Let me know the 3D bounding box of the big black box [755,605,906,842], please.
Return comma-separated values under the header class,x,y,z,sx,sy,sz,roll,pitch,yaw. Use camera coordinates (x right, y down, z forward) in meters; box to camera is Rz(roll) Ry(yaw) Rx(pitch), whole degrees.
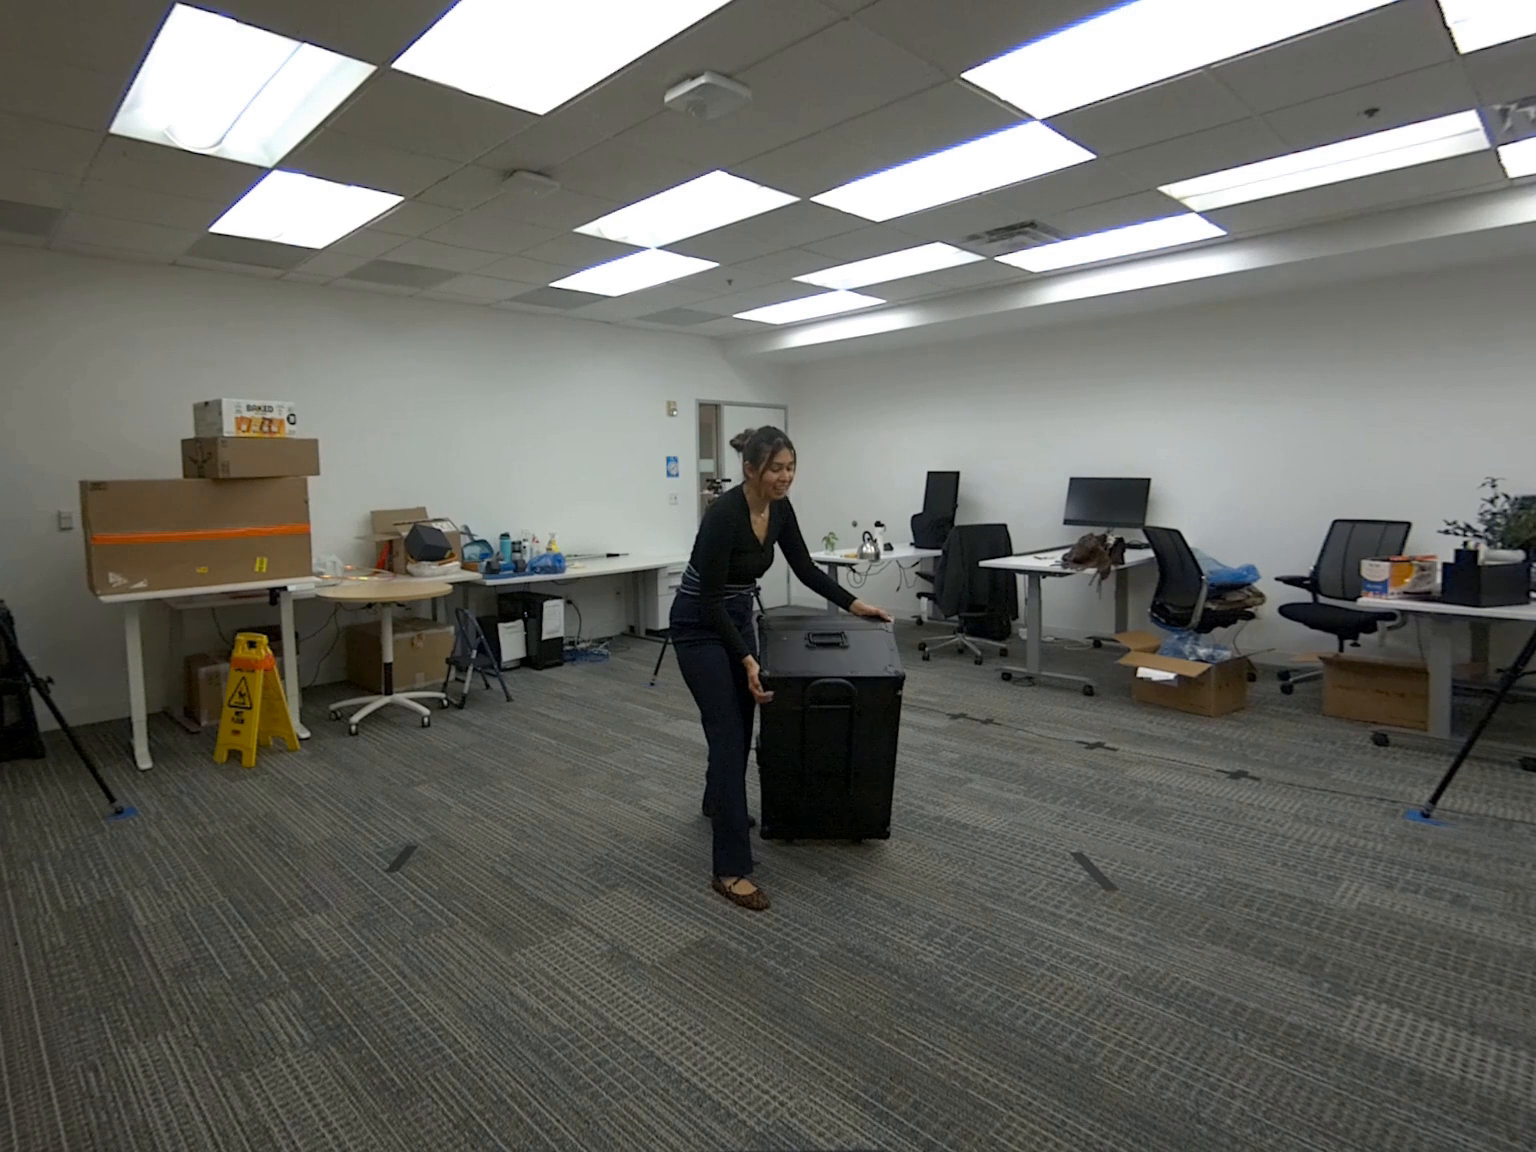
class,x,y,z,sx,sy,sz,roll,pitch,yaw
big black box,0.213,0.599,3.180,0.523,0.840,0.405,0,32,2
